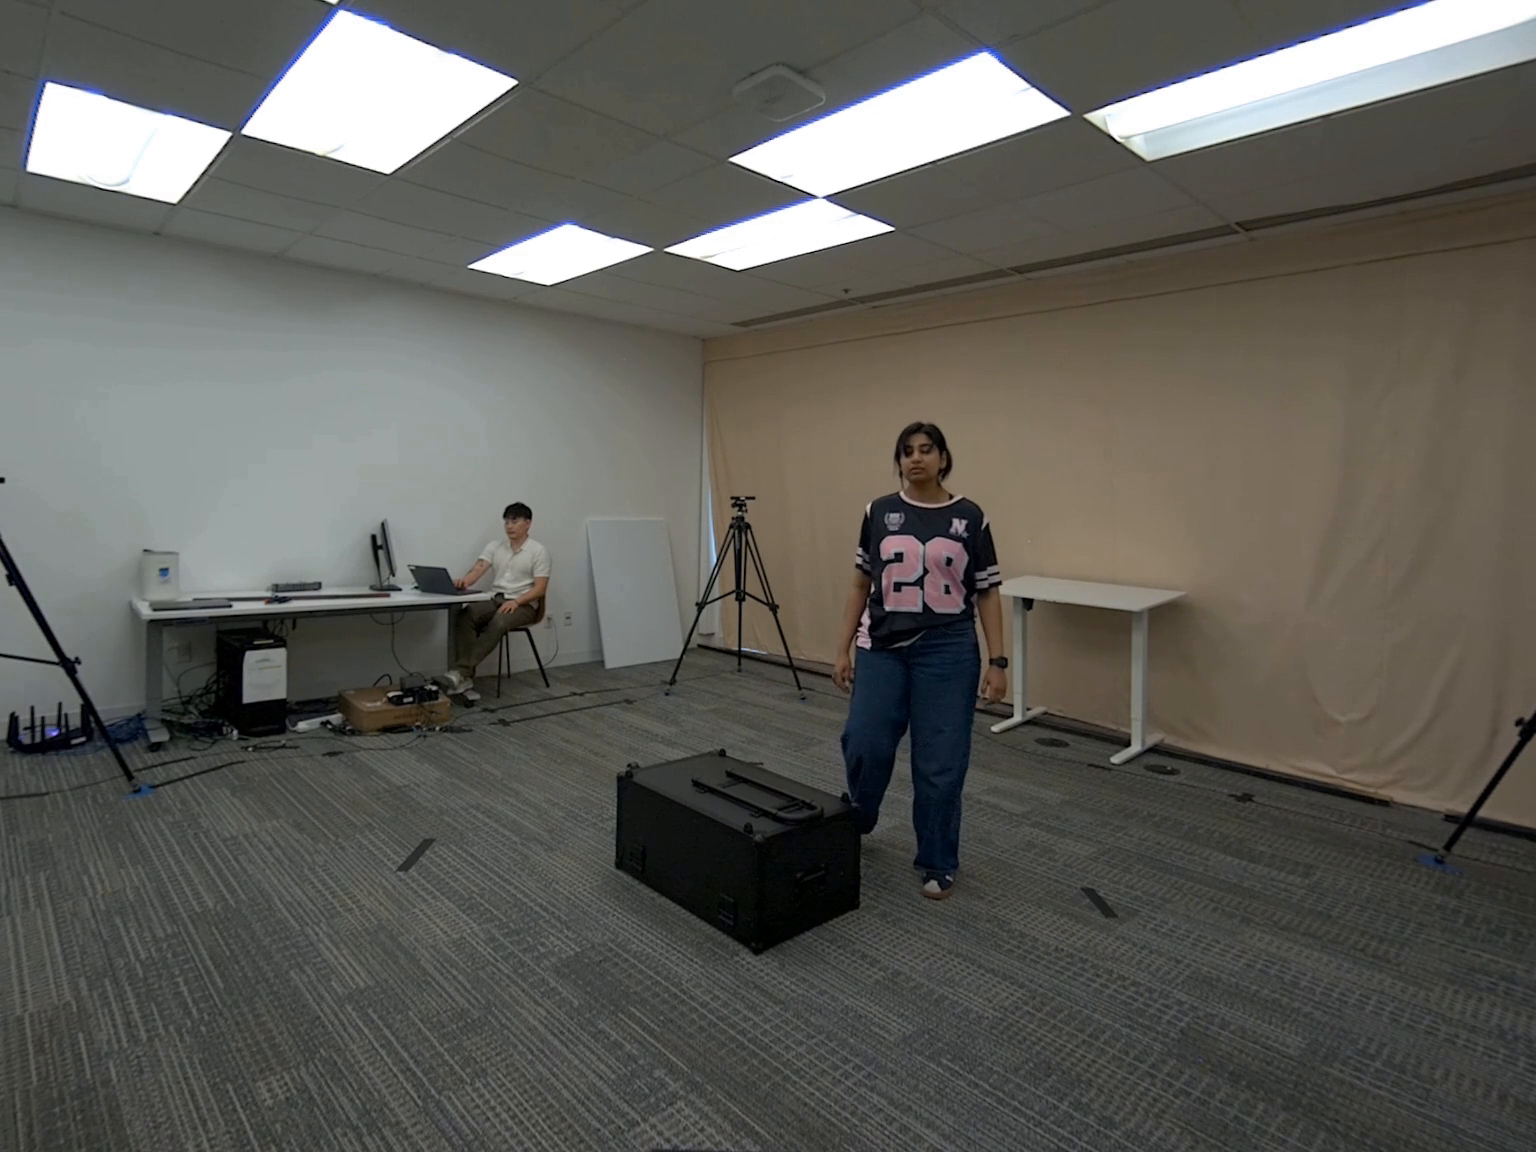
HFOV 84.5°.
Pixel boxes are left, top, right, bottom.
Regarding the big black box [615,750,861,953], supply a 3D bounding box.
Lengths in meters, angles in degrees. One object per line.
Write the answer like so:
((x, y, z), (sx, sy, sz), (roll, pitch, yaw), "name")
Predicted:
((-0.161, 0.928, 3.019), (0.512, 0.384, 0.891), (-4, 7, -42), "big black box")
